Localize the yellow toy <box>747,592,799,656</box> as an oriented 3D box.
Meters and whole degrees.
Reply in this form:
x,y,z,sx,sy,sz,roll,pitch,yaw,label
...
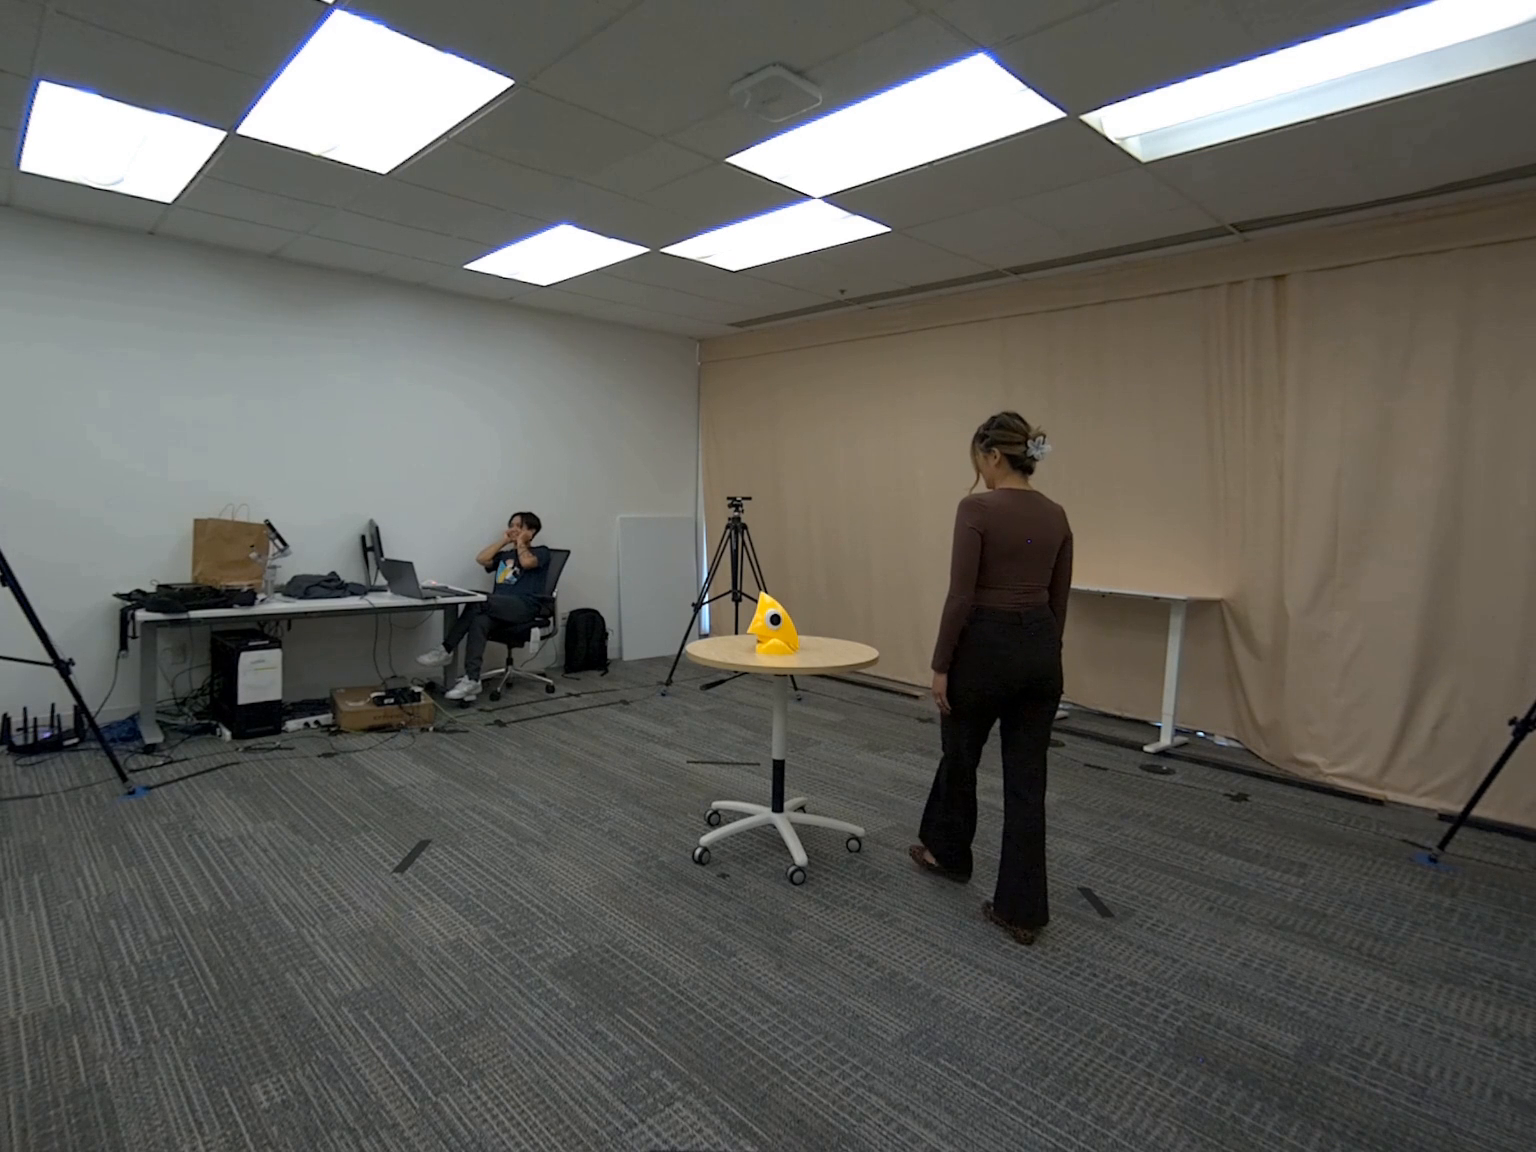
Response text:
x,y,z,sx,sy,sz,roll,pitch,yaw,label
0.022,0.178,3.322,0.195,0.230,0.203,2,4,13,yellow toy
